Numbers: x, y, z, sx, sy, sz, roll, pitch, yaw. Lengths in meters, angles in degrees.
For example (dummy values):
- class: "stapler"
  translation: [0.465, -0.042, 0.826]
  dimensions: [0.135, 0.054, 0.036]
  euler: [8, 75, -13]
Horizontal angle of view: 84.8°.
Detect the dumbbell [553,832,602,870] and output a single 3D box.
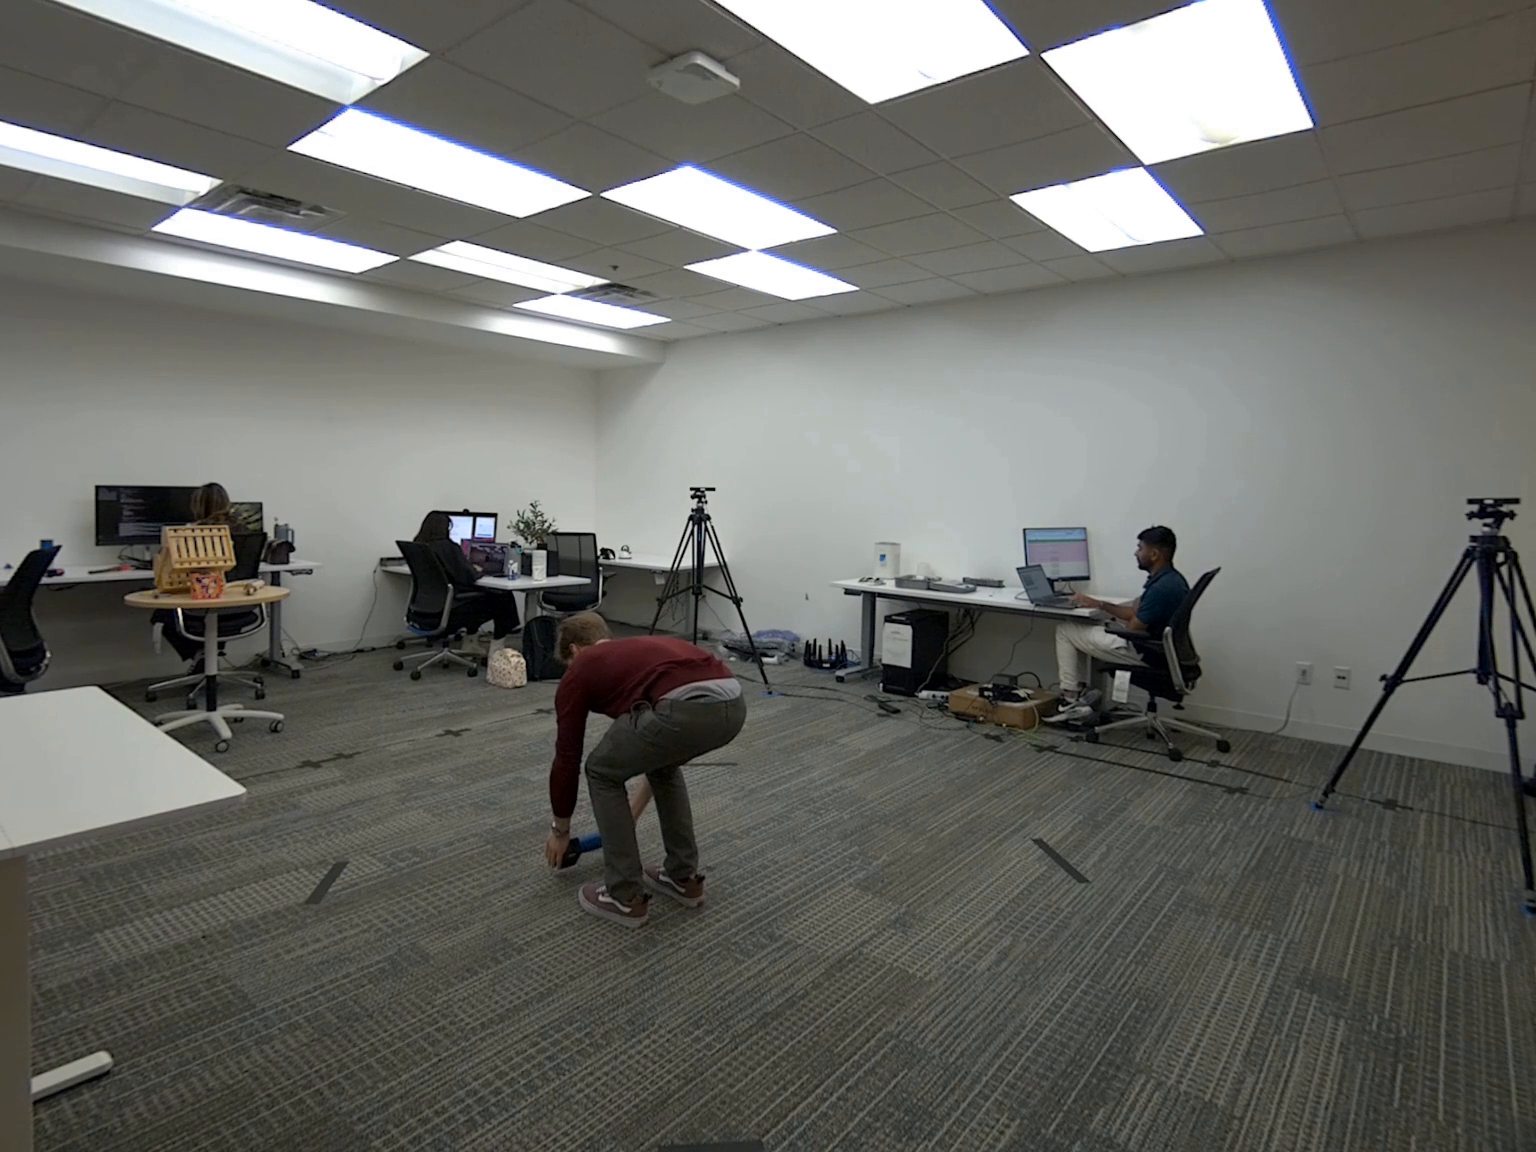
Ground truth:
- class: "dumbbell"
  translation: [-0.656, 0.971, 3.088]
  dimensions: [0.285, 0.121, 0.113]
  euler: [-4, 40, -39]
